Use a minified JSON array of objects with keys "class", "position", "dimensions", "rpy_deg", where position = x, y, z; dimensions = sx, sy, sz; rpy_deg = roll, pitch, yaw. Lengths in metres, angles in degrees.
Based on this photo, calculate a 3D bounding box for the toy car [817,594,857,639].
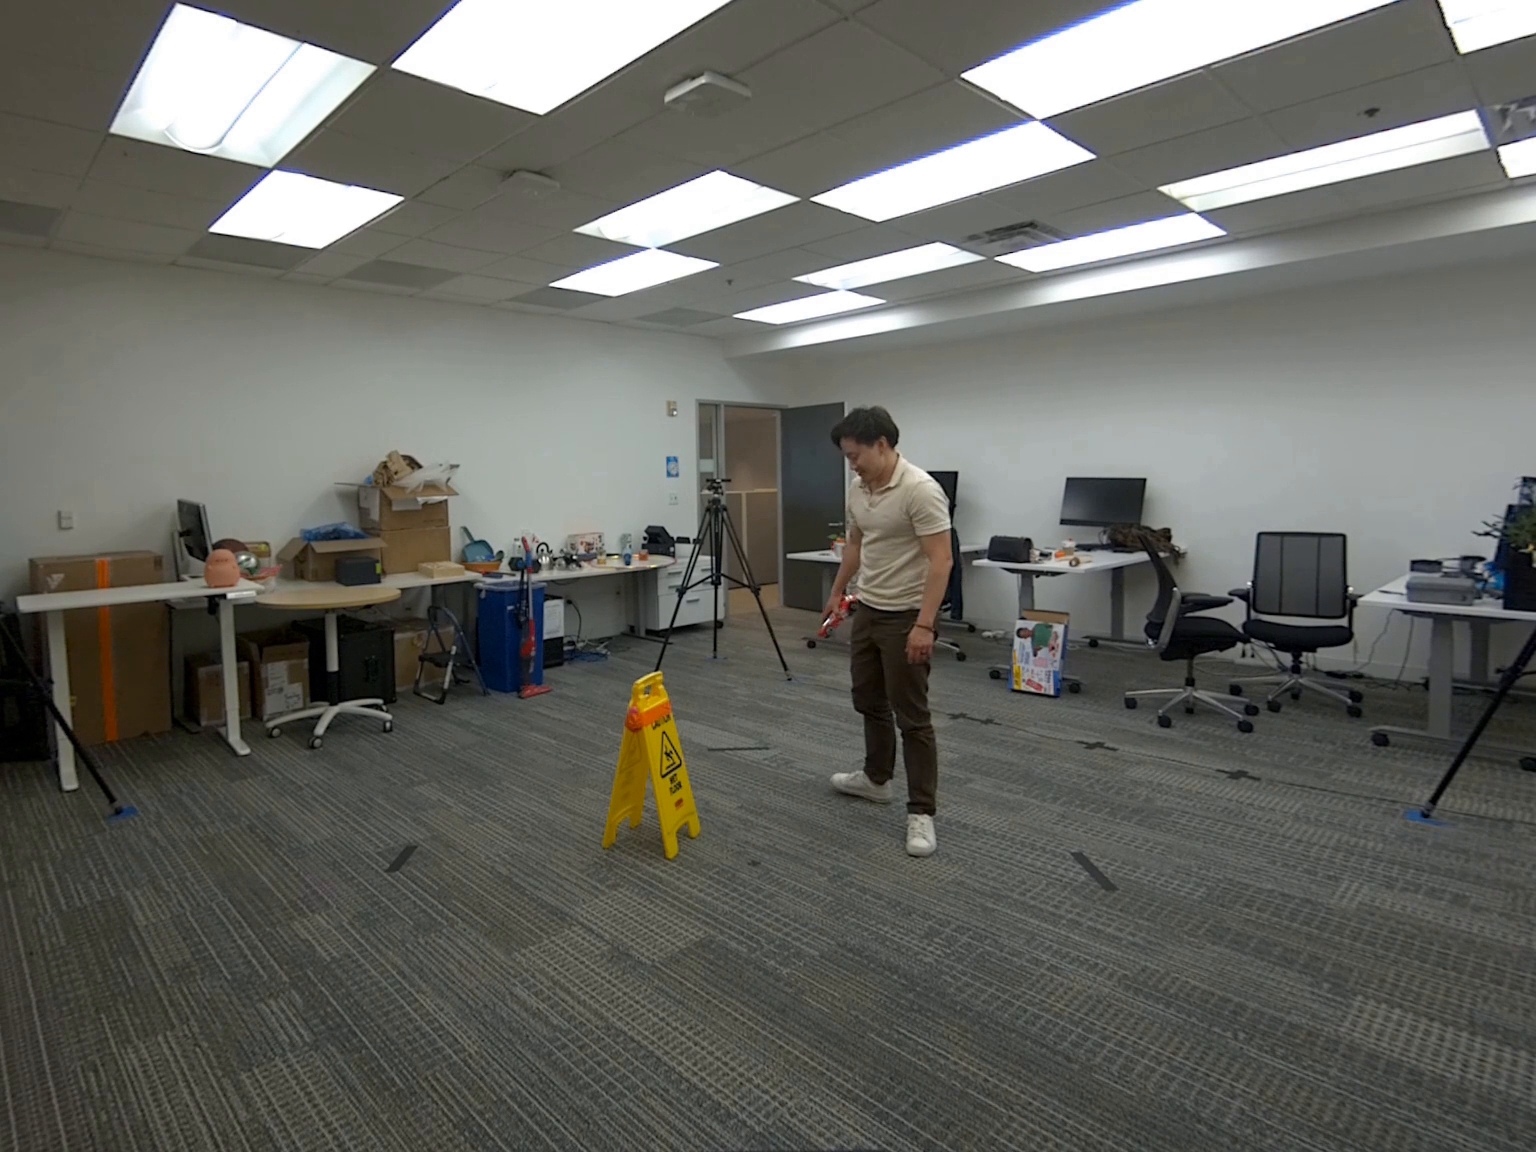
[{"class":"toy car","position":[0.325,0.171,3.703],"dimensions":[0.083,0.255,0.129],"rpy_deg":[35,-14,1]}]
